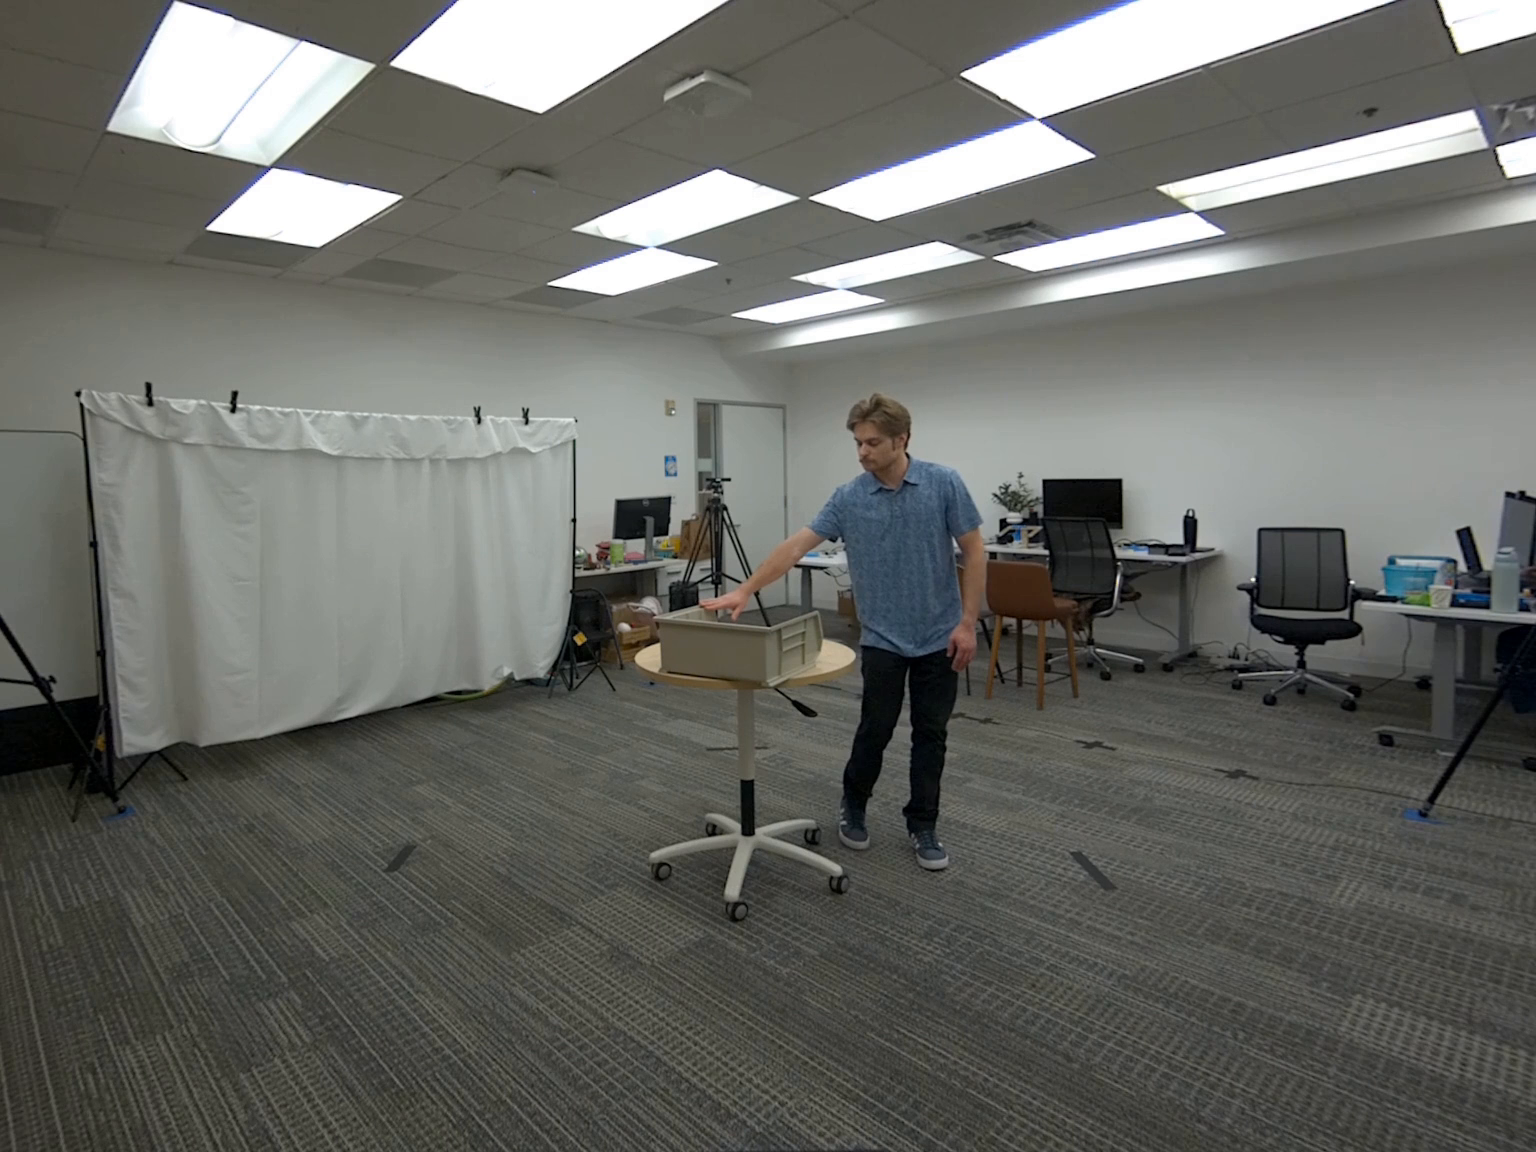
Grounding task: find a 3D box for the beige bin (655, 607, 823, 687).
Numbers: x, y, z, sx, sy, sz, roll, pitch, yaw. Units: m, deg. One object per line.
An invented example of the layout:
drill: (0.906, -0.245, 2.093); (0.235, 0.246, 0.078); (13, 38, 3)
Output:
beige bin: (-0.087, 0.211, 2.767); (0.434, 0.188, 0.370); (3, 9, 30)
